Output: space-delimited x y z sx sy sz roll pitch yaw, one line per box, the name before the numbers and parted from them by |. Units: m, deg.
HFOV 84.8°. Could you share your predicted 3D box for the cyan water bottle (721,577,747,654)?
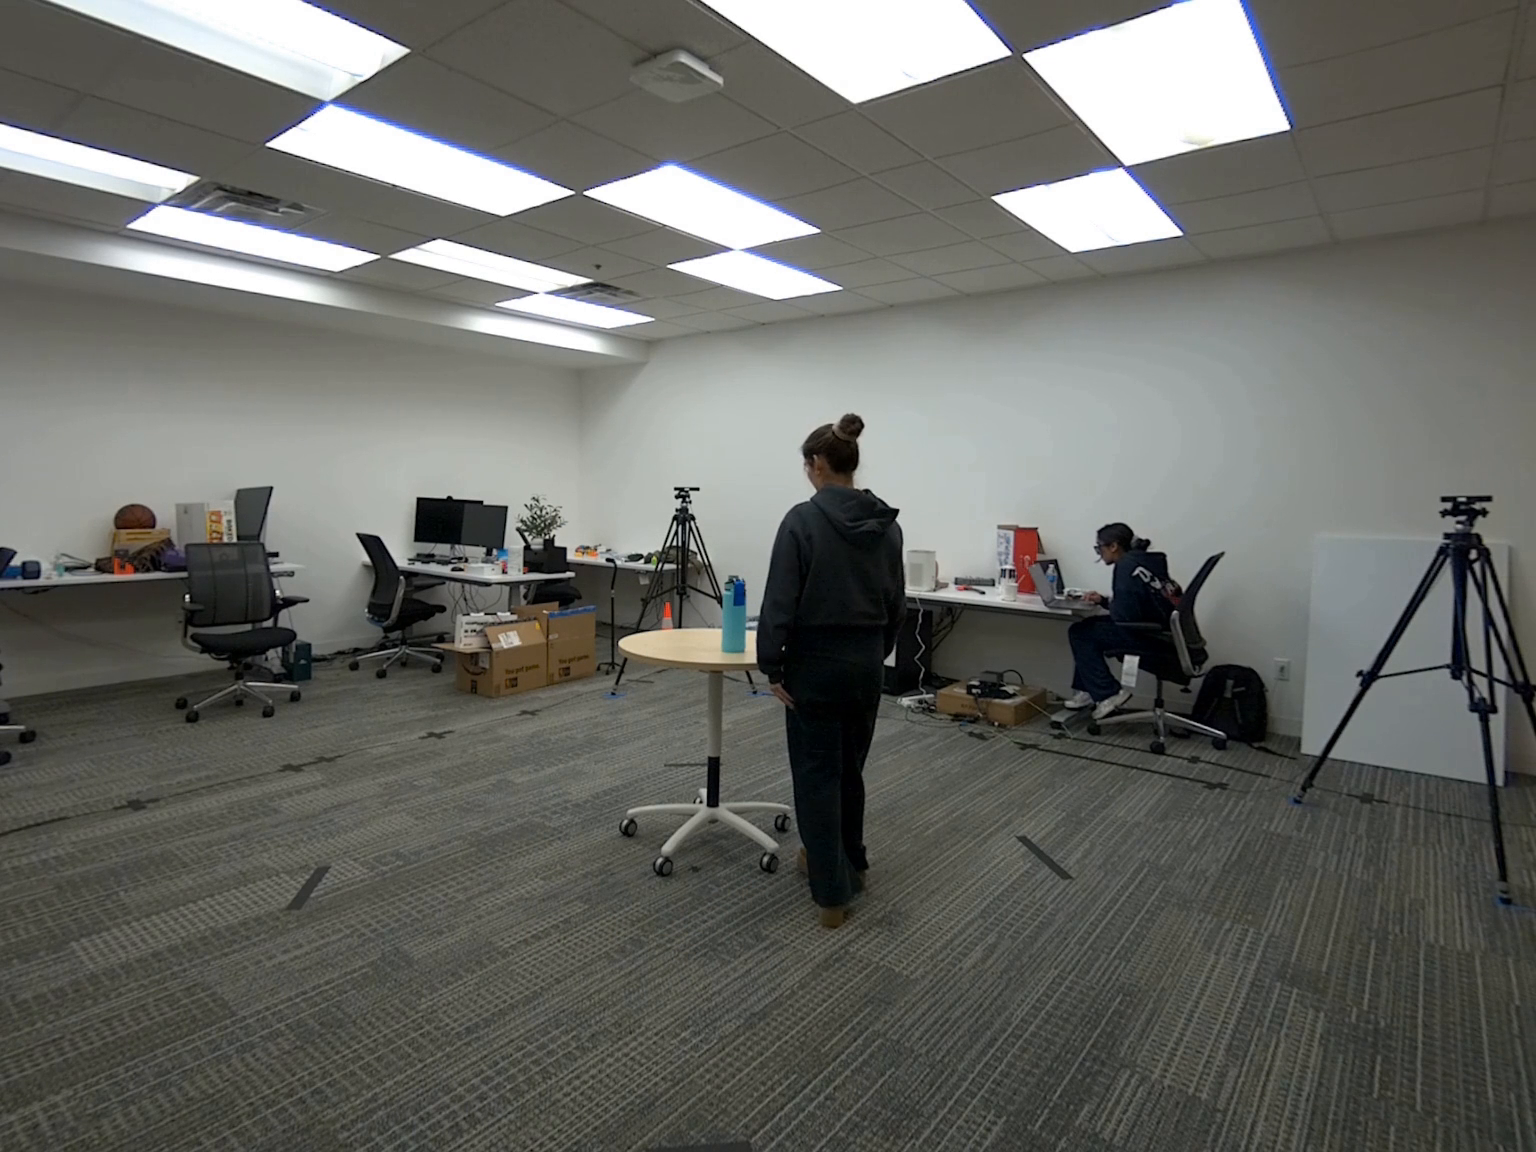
cyan water bottle | -0.128 0.139 3.177 0.092 0.282 0.093 1 4 -2
